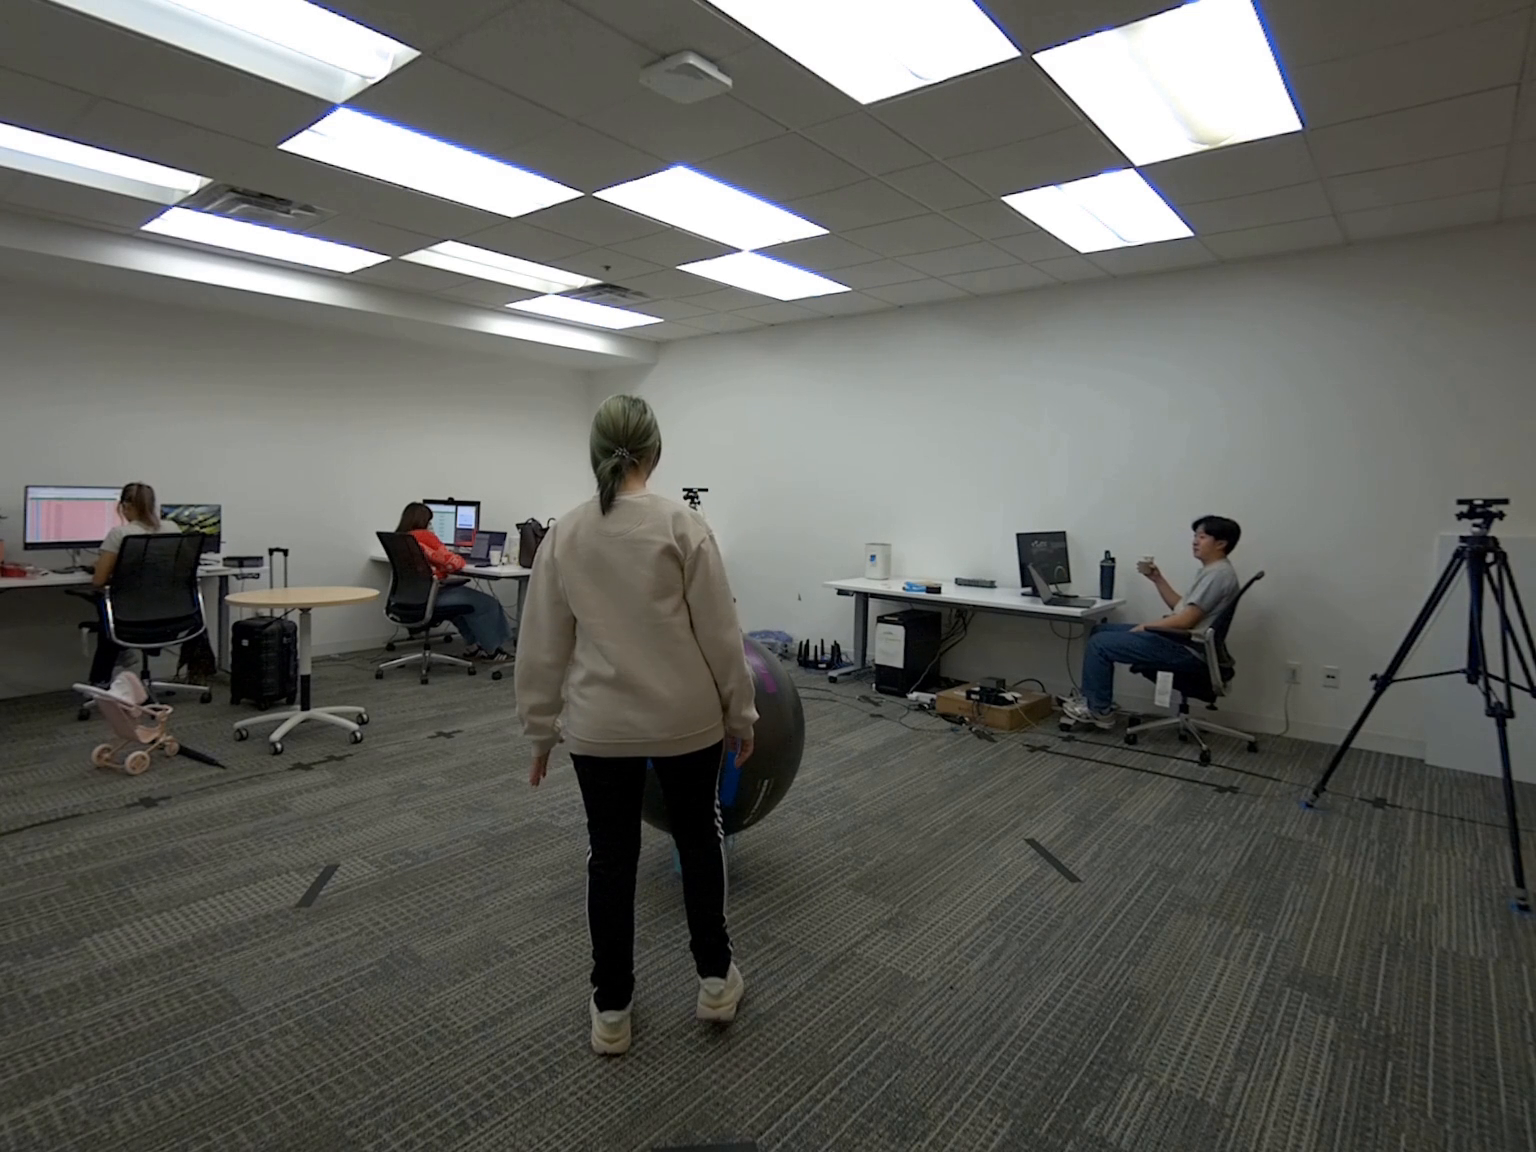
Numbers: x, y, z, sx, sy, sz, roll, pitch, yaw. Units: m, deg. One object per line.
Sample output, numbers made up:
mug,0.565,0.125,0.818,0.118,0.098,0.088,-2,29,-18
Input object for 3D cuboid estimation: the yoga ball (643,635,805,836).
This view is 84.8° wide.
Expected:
yoga ball,-0.247,0.553,3.109,0.757,0.756,0.762,1,4,-2
